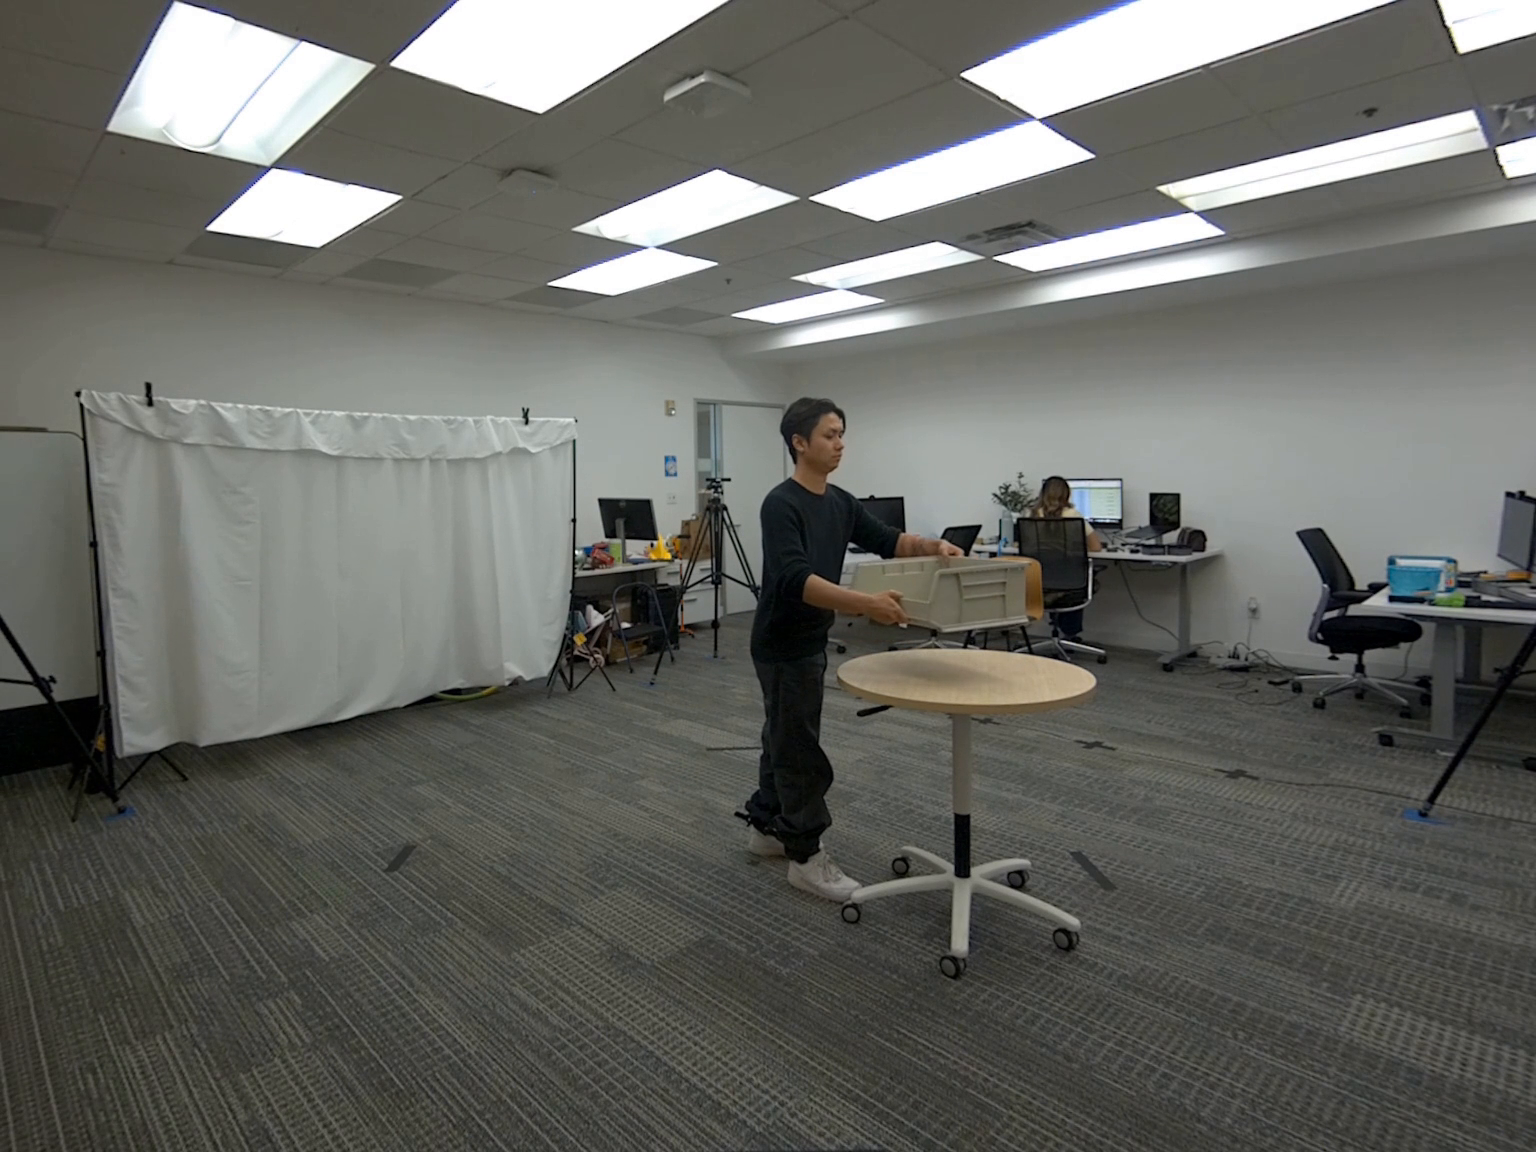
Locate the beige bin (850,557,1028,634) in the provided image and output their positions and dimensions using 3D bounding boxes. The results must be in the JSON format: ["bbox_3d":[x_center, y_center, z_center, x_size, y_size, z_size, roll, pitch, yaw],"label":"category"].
[{"bbox_3d":[0.515,0.052,2.644,0.370,0.188,0.431,-3,4,-23],"label":"beige bin"}]
